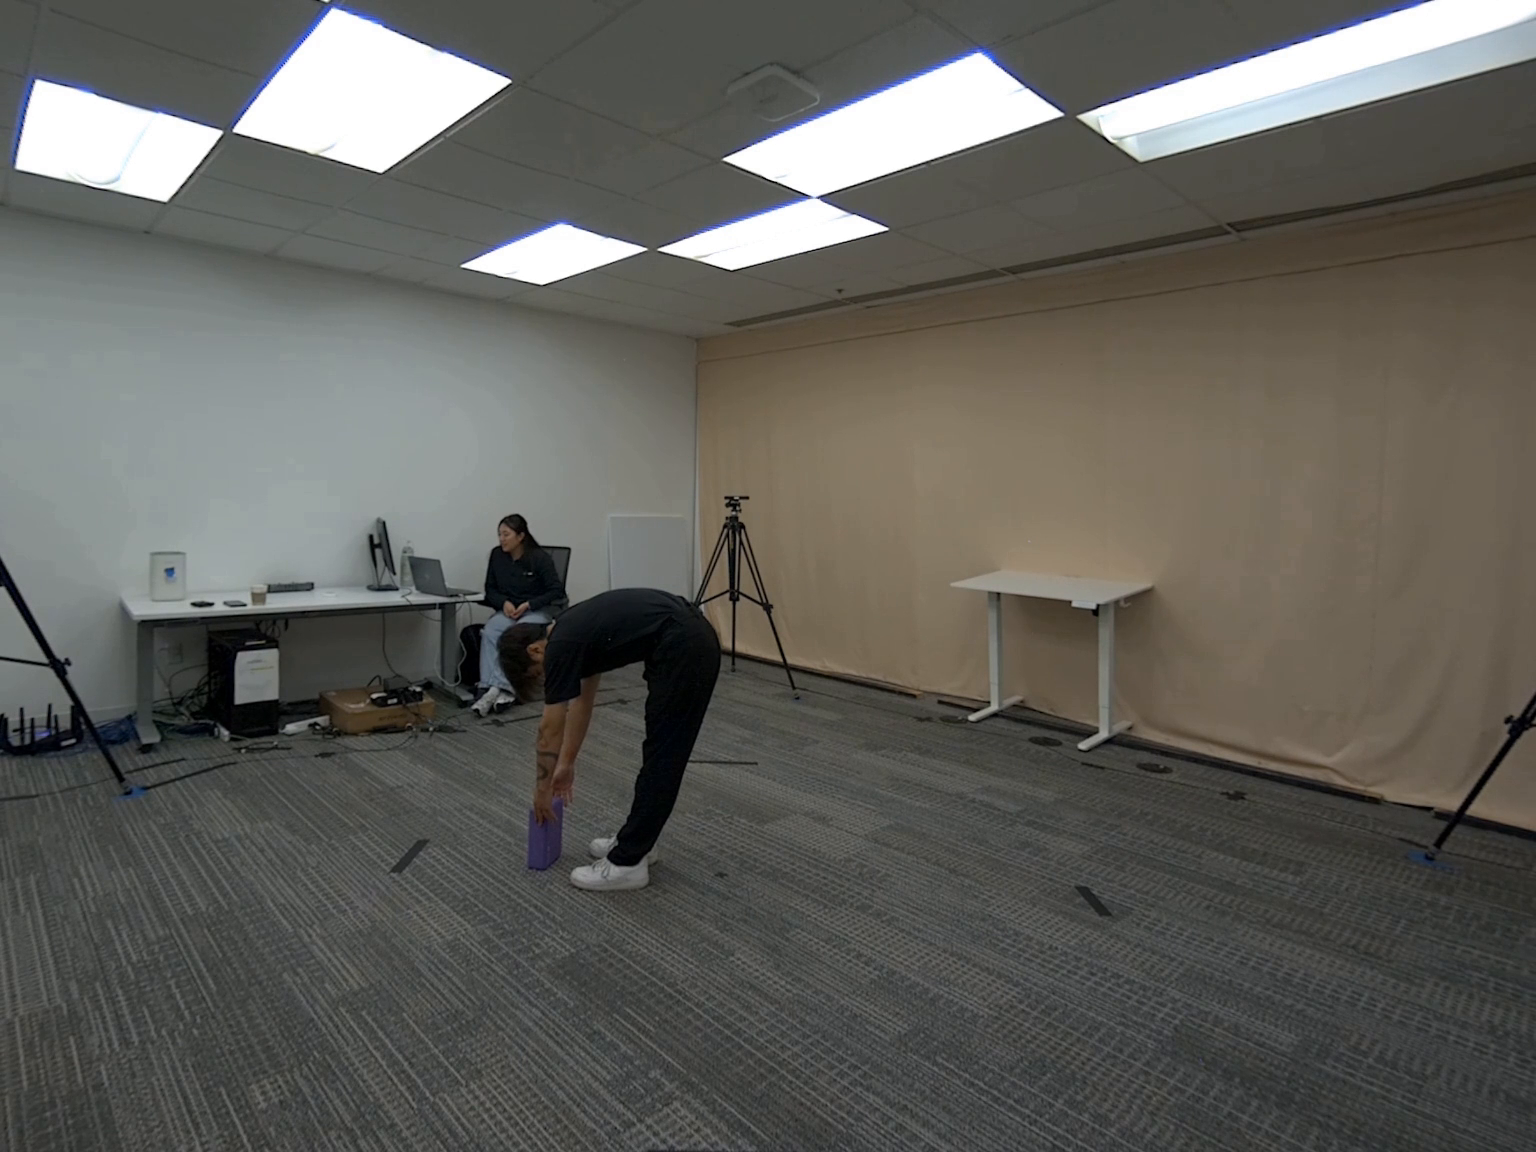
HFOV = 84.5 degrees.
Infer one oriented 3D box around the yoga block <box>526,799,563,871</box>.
[{"bbox_3d":[-0.838,0.963,3.173,0.077,0.229,0.148,1,2,10],"label":"yoga block"}]
